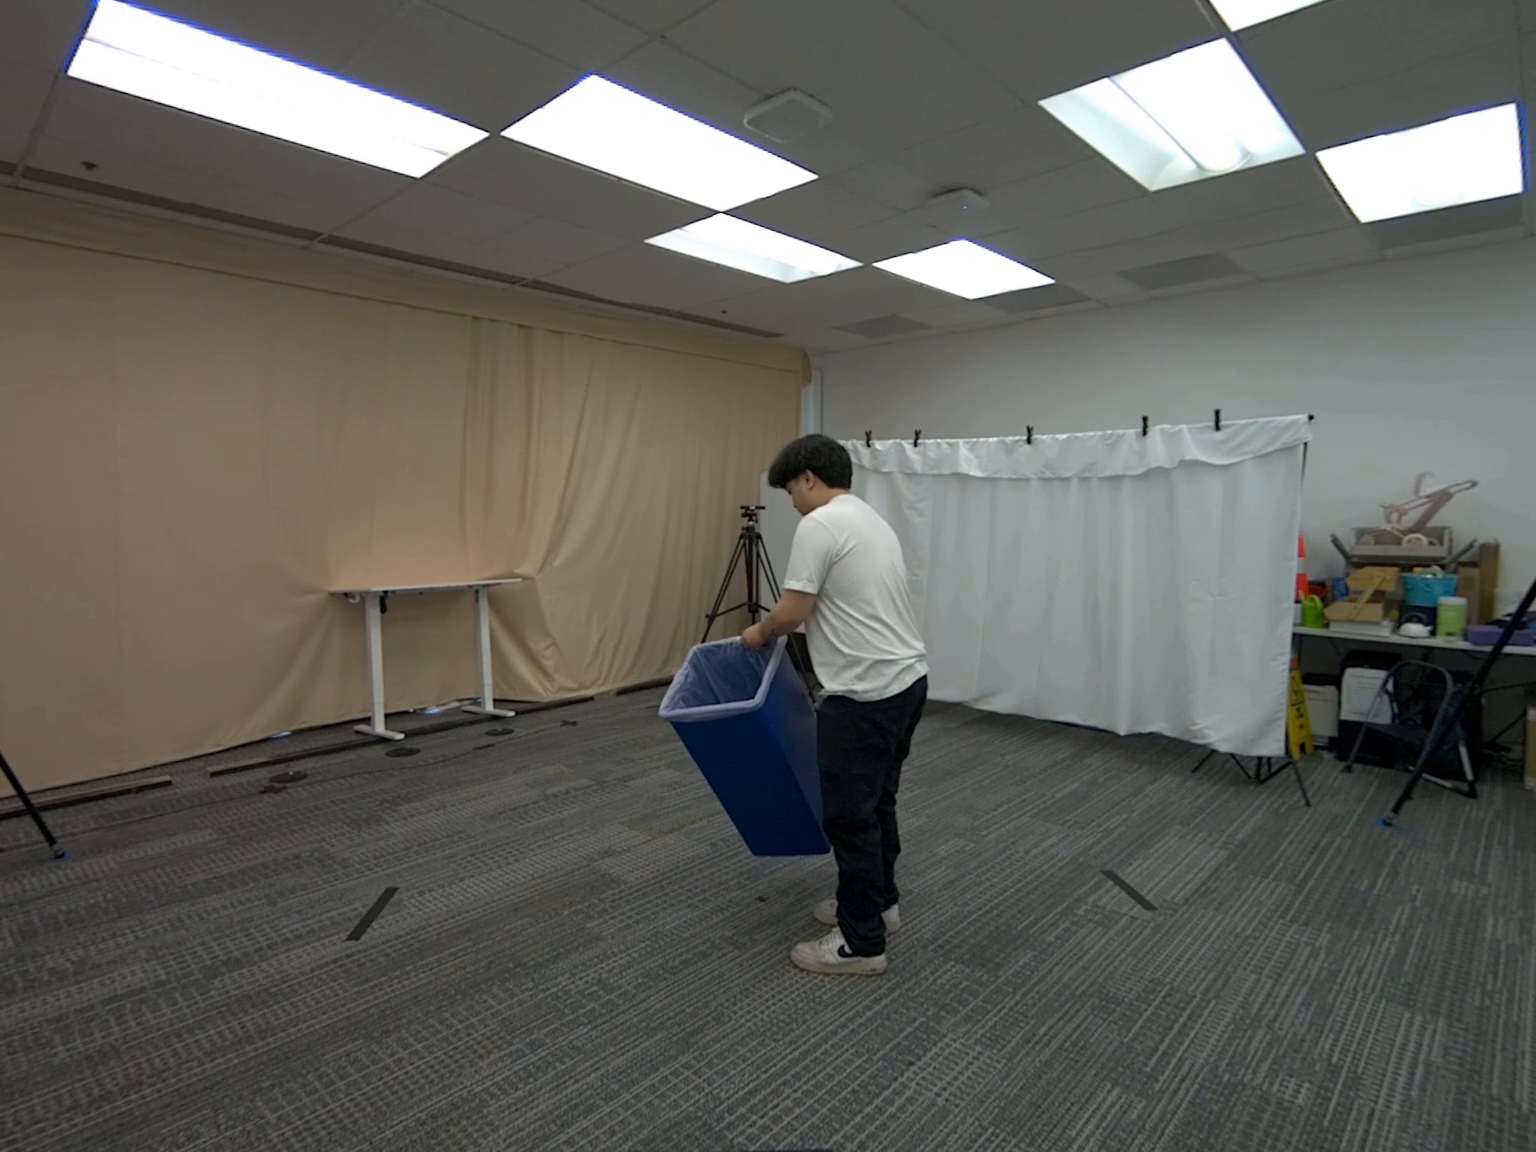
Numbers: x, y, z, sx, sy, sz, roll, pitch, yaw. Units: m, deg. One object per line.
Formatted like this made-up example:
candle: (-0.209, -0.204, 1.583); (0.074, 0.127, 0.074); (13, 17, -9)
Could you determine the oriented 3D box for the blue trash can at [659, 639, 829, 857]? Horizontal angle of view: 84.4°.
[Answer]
blue trash can: (-0.016, 0.598, 2.899); (0.386, 0.698, 0.374); (-12, 27, 26)
